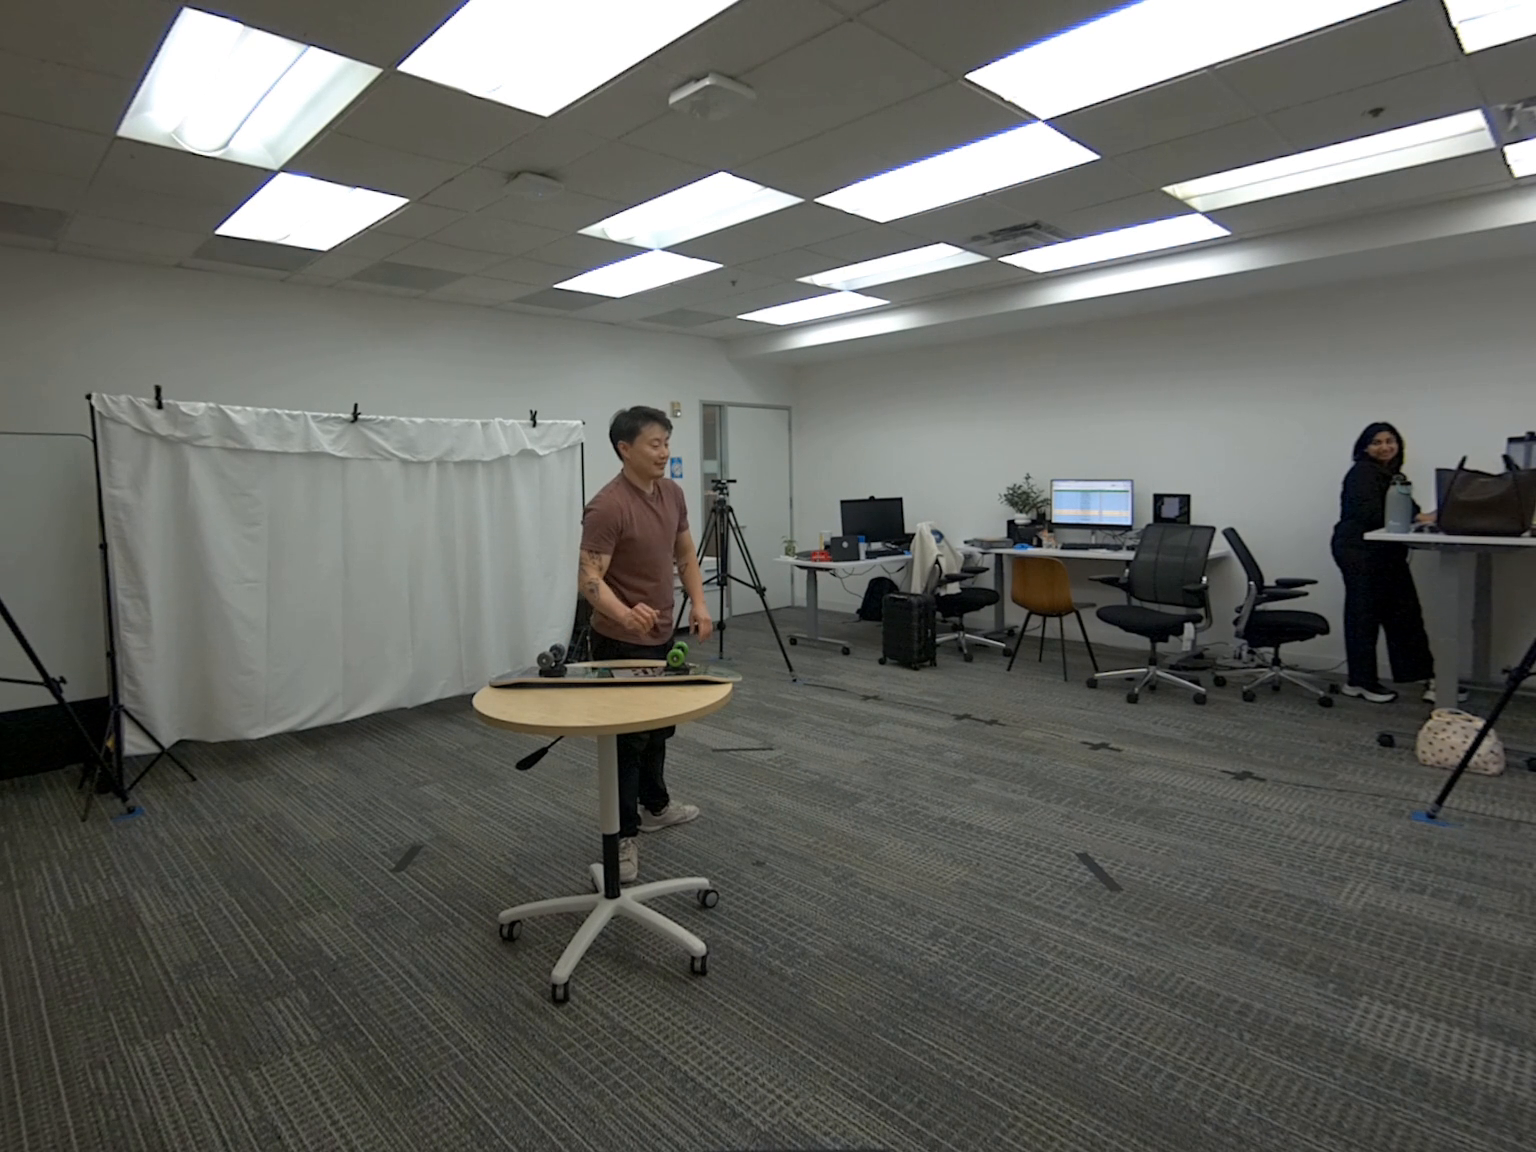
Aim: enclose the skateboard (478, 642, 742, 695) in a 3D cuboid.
[{"bbox_3d":[-0.478,0.283,2.656,0.787,0.110,0.193,-1,4,2],"label":"skateboard"}]
